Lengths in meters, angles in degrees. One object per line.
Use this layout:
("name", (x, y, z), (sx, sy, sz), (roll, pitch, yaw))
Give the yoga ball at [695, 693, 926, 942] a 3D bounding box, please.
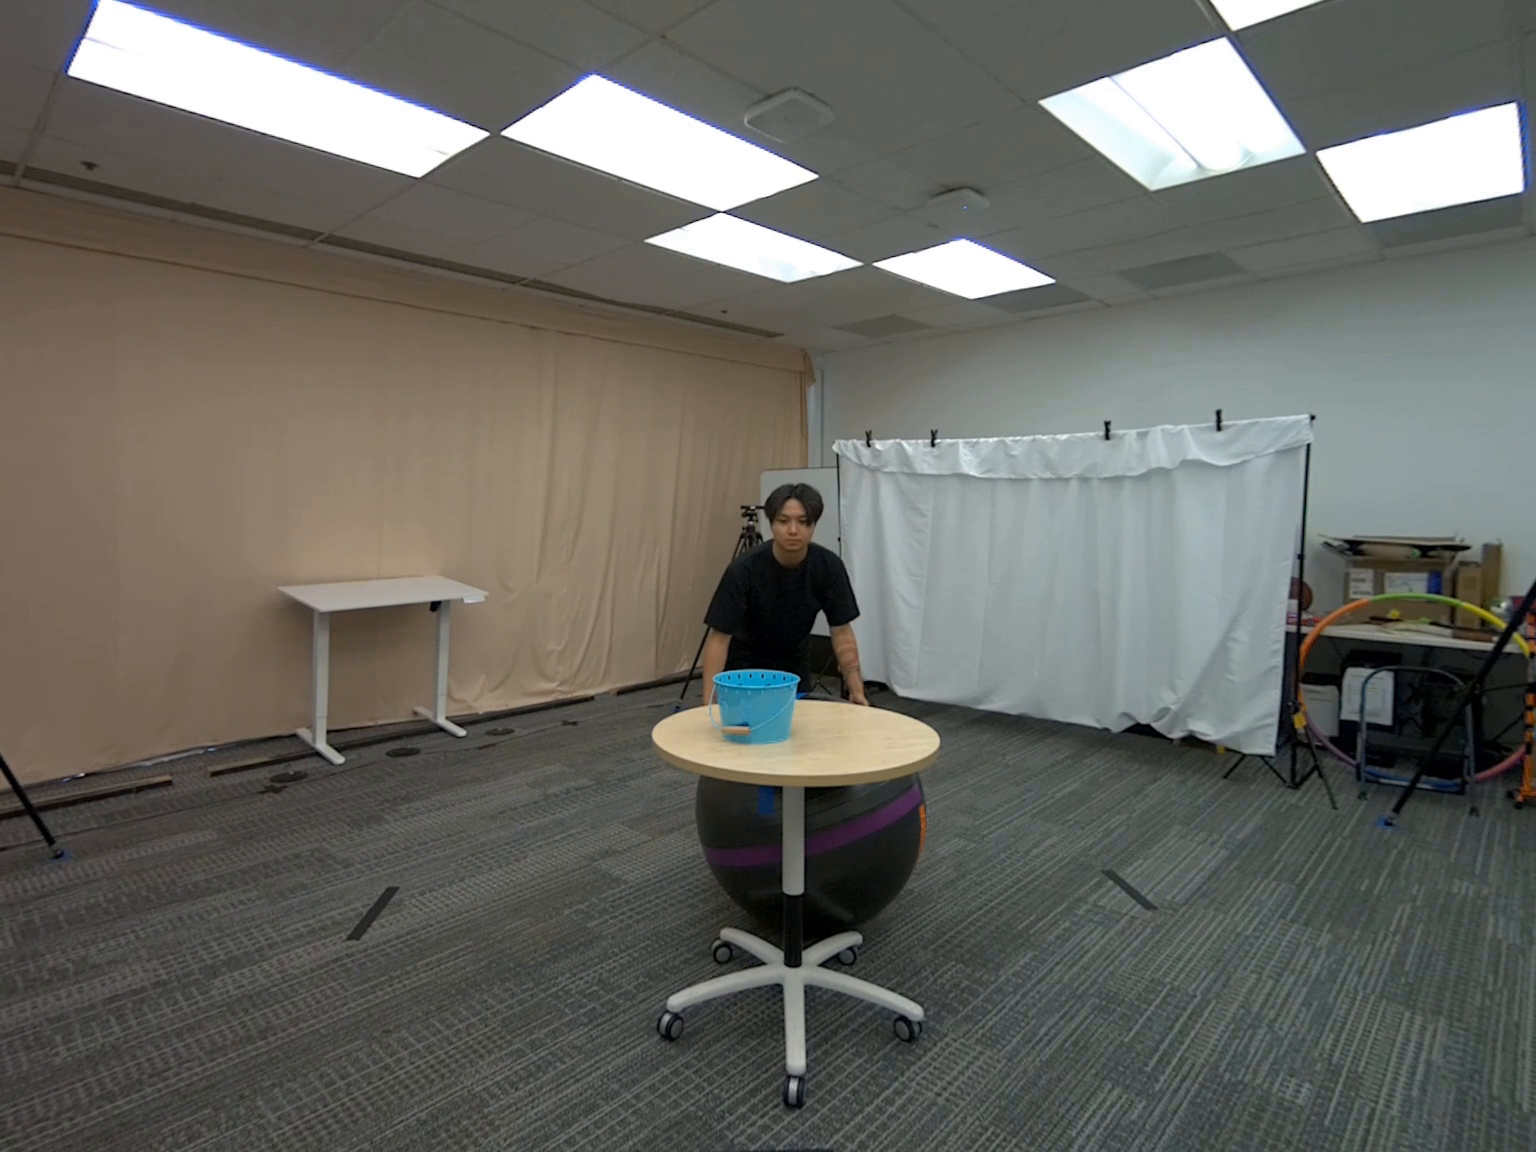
("yoga ball", (0.139, 0.779, 2.816), (0.757, 0.756, 0.760), (0, 4, -2))
